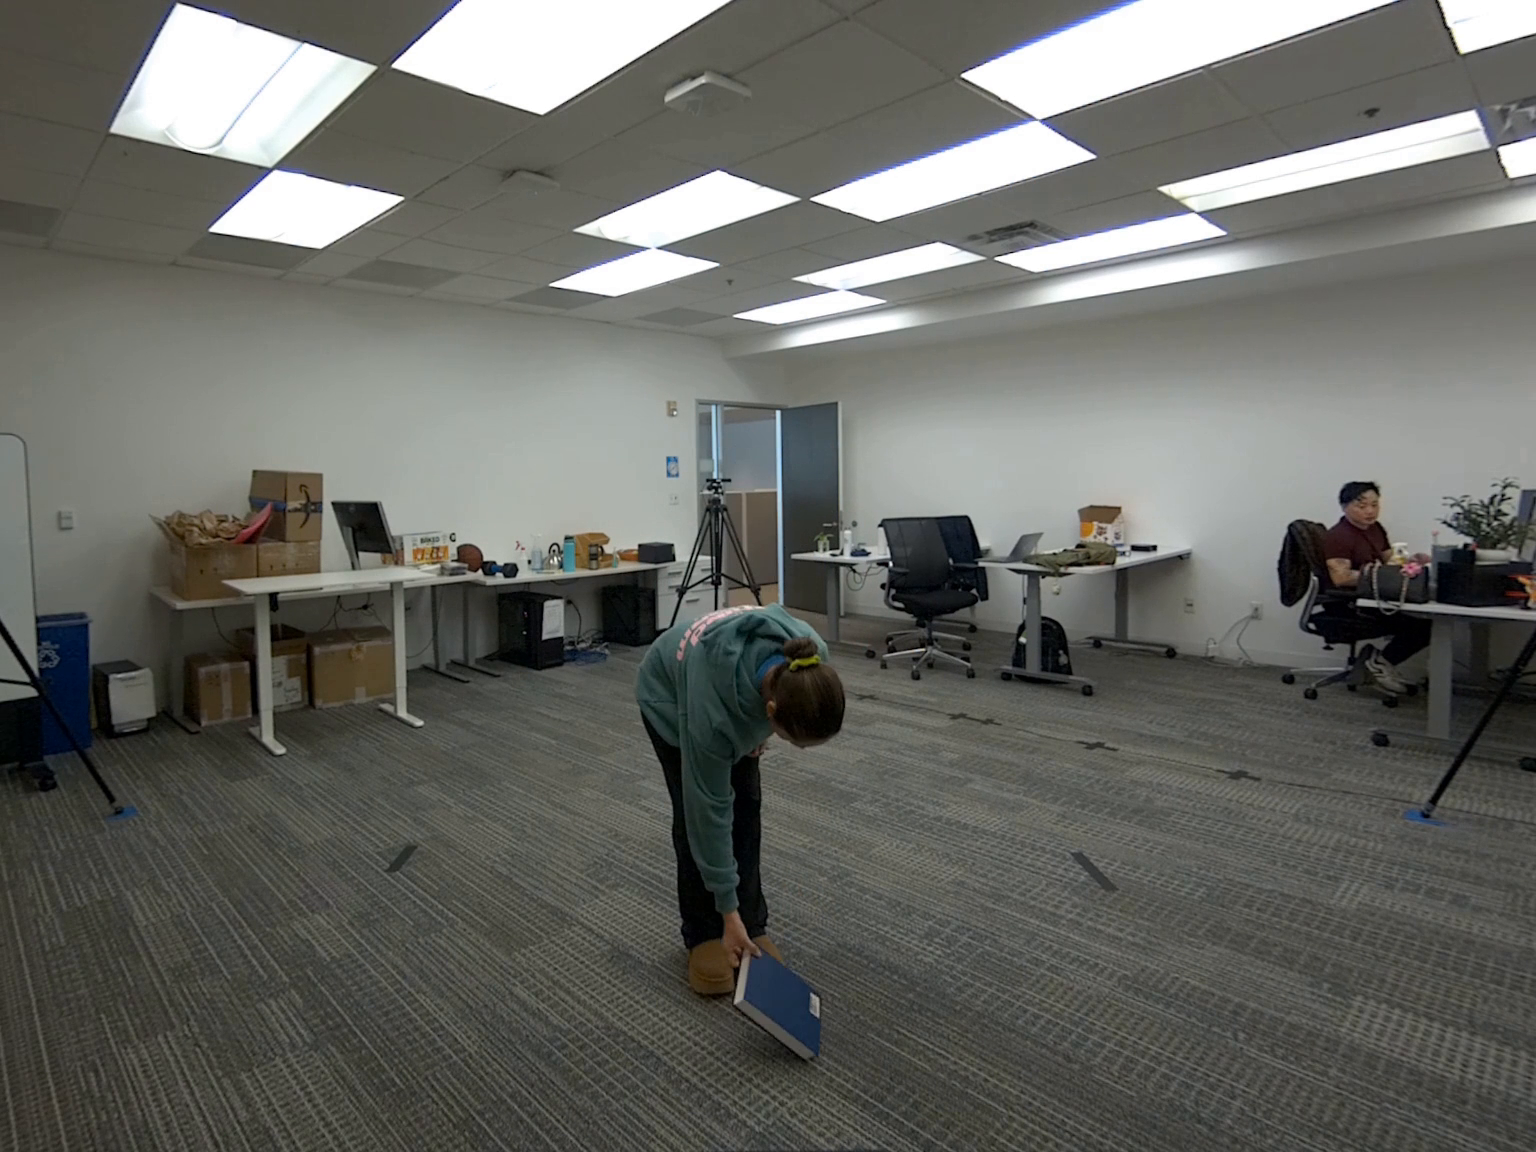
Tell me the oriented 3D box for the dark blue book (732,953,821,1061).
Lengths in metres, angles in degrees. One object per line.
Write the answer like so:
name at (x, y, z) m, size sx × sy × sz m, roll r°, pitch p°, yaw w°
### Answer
dark blue book at (0.024, 1.028, 2.091) m, size 0.045 × 0.242 × 0.165 m, roll -45°, pitch 9°, yaw 22°
